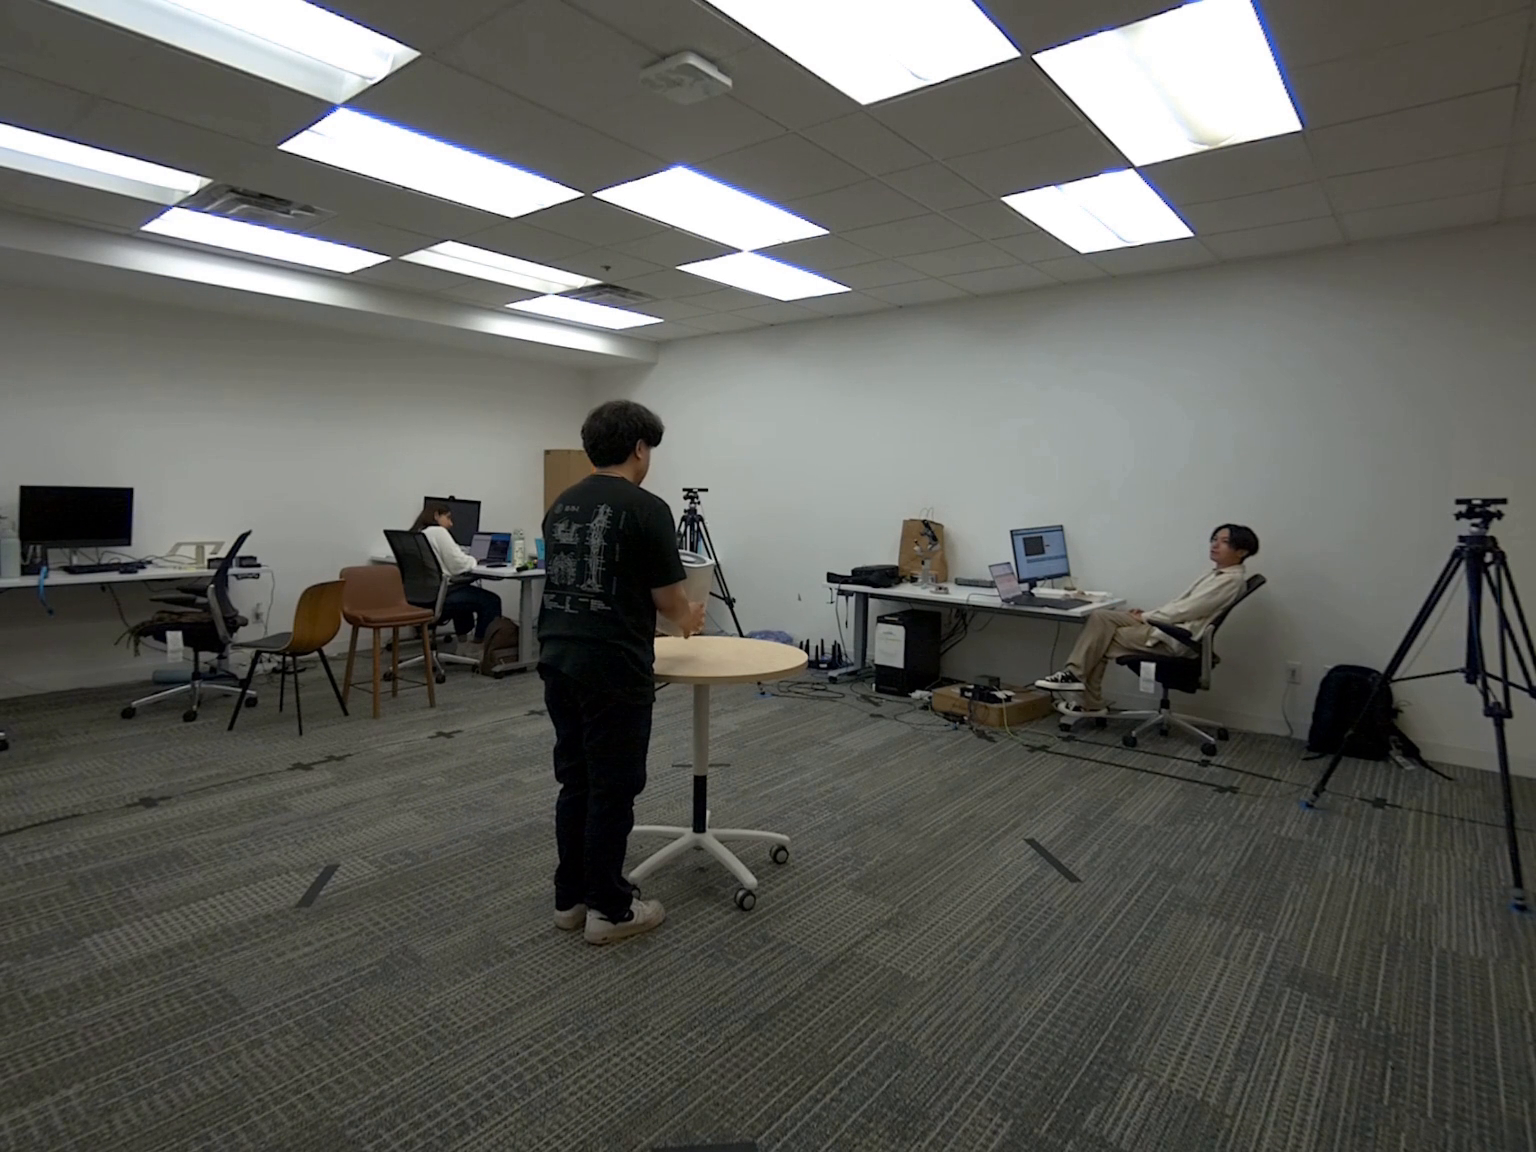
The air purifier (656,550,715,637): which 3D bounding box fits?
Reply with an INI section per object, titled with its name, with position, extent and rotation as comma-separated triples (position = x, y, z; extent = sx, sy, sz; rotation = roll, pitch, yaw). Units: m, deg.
[air purifier]
position = -0.316, 0.060, 2.967
extent = 0.176, 0.263, 0.168
rotation = 18, 14, 24
